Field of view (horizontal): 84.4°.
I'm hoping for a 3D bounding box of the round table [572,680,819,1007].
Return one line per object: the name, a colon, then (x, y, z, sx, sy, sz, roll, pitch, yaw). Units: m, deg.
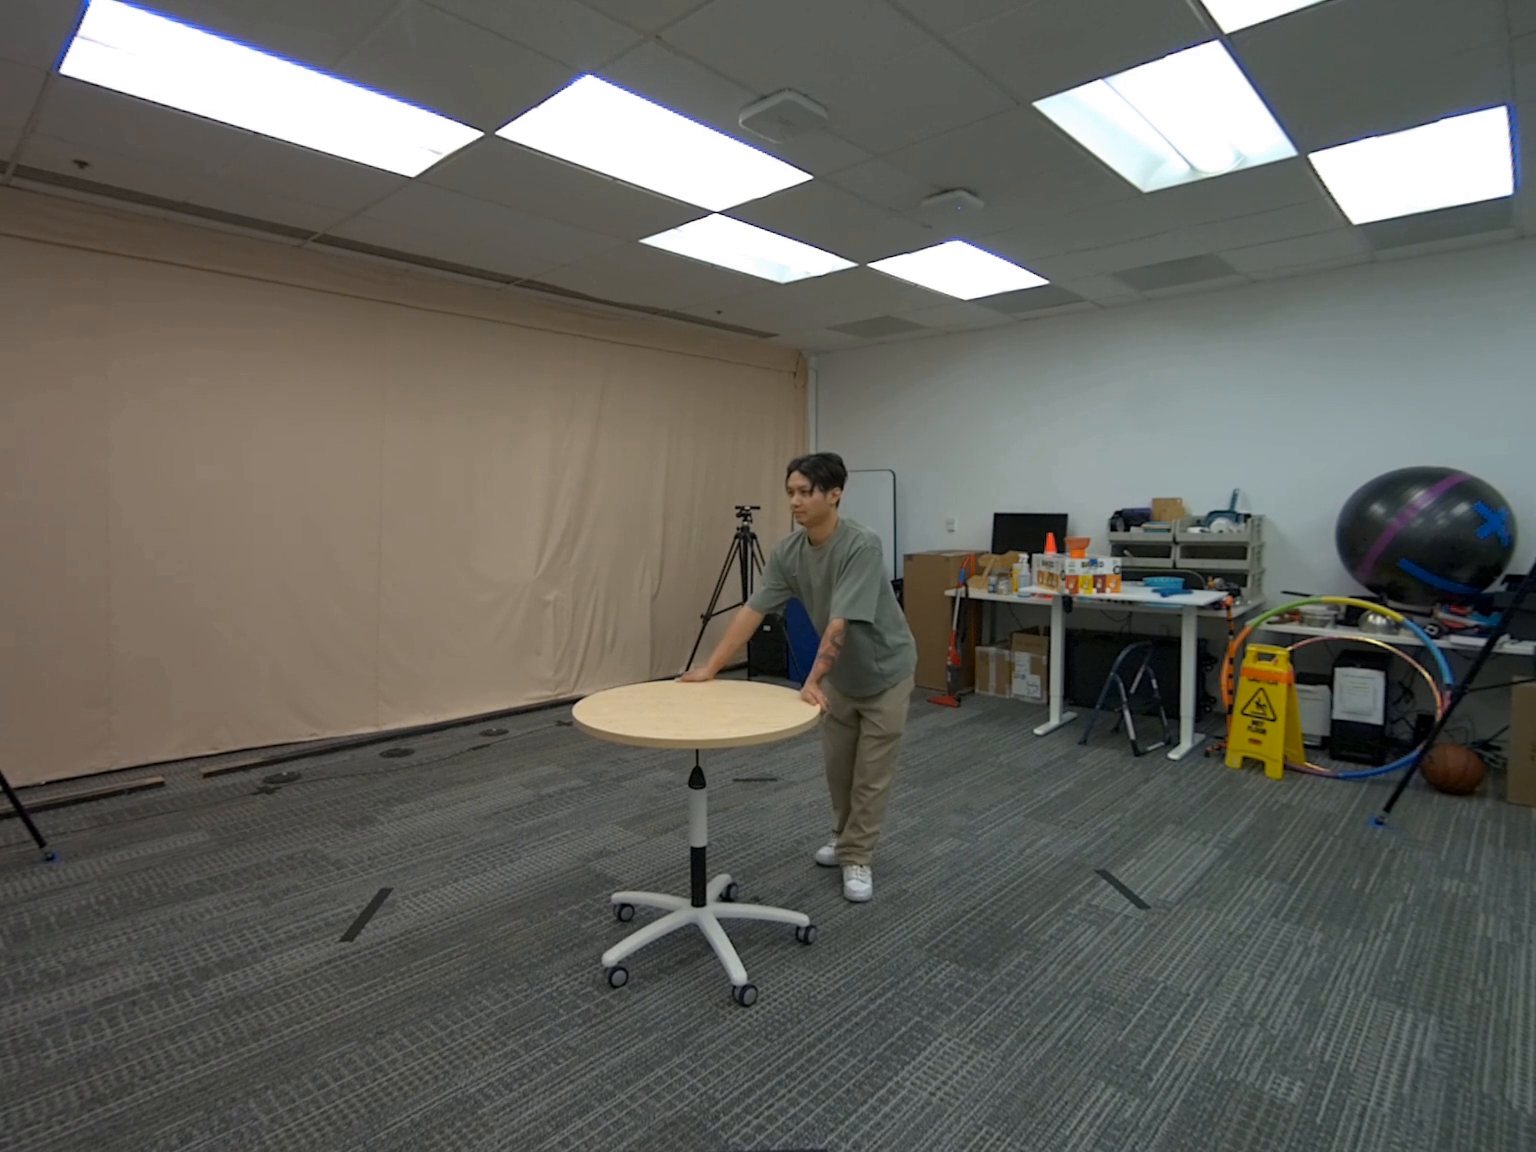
round table: (-0.222, 0.784, 2.653, 0.784, 0.785, 0.788, -1, 4, -2)
